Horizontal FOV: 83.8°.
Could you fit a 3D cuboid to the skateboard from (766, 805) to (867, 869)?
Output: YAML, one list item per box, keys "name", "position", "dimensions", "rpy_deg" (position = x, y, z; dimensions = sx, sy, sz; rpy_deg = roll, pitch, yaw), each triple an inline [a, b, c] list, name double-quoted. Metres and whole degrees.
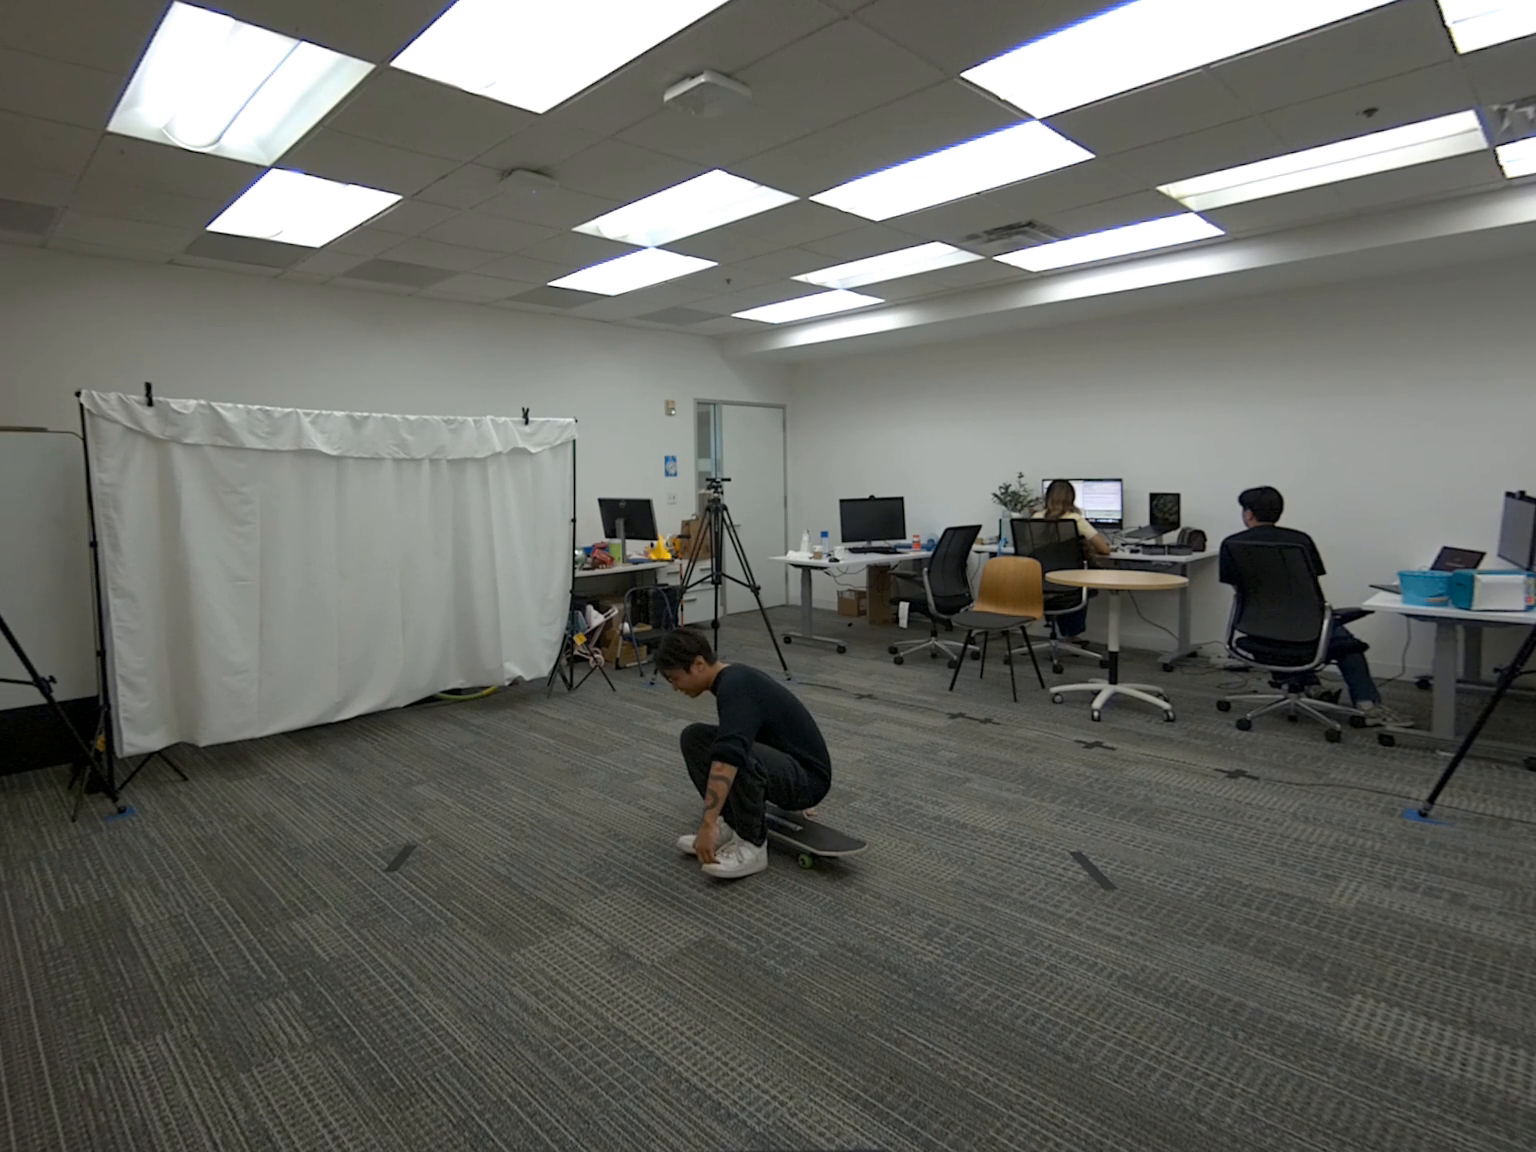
- name: "skateboard"
  position: [0.053, 0.969, 3.250]
  dimensions: [0.188, 0.110, 0.810]
  rpy_deg: [-4, 6, -41]
